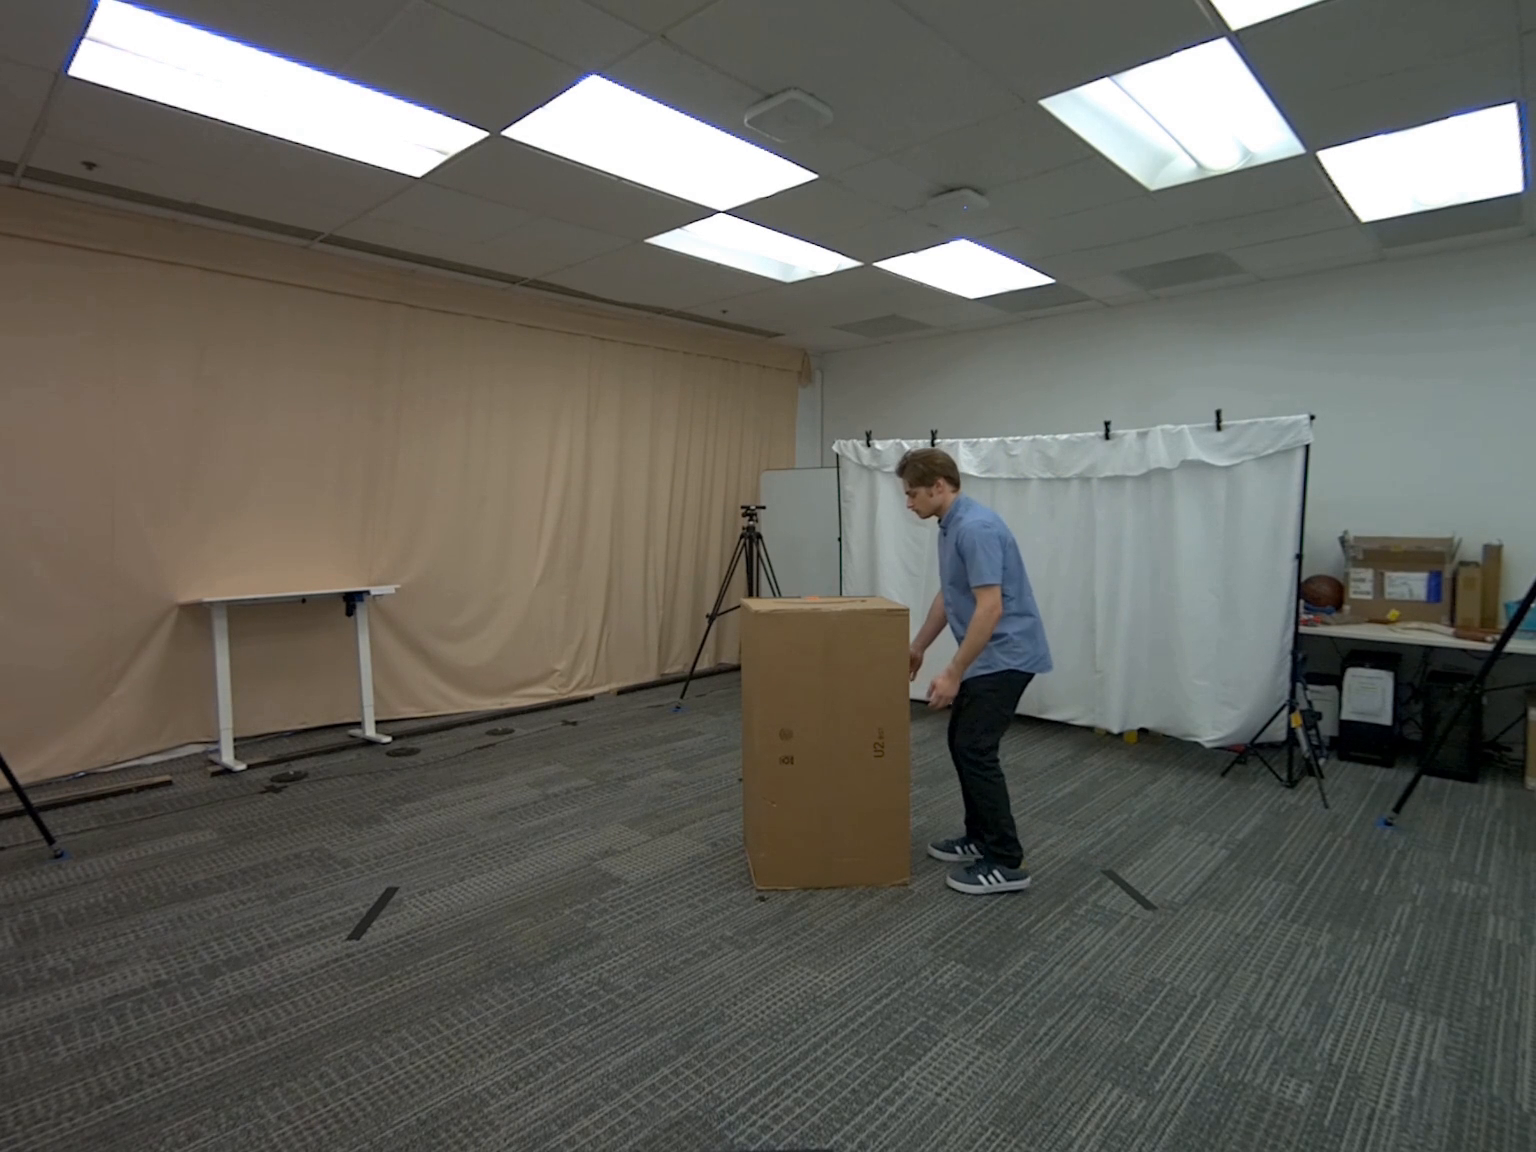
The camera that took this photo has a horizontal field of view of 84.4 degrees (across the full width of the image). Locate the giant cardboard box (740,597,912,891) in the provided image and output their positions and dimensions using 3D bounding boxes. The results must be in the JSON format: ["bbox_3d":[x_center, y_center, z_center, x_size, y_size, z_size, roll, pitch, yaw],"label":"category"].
[{"bbox_3d":[0.211,0.613,3.258,0.575,1.024,0.429,0,3,-5],"label":"giant cardboard box"}]
